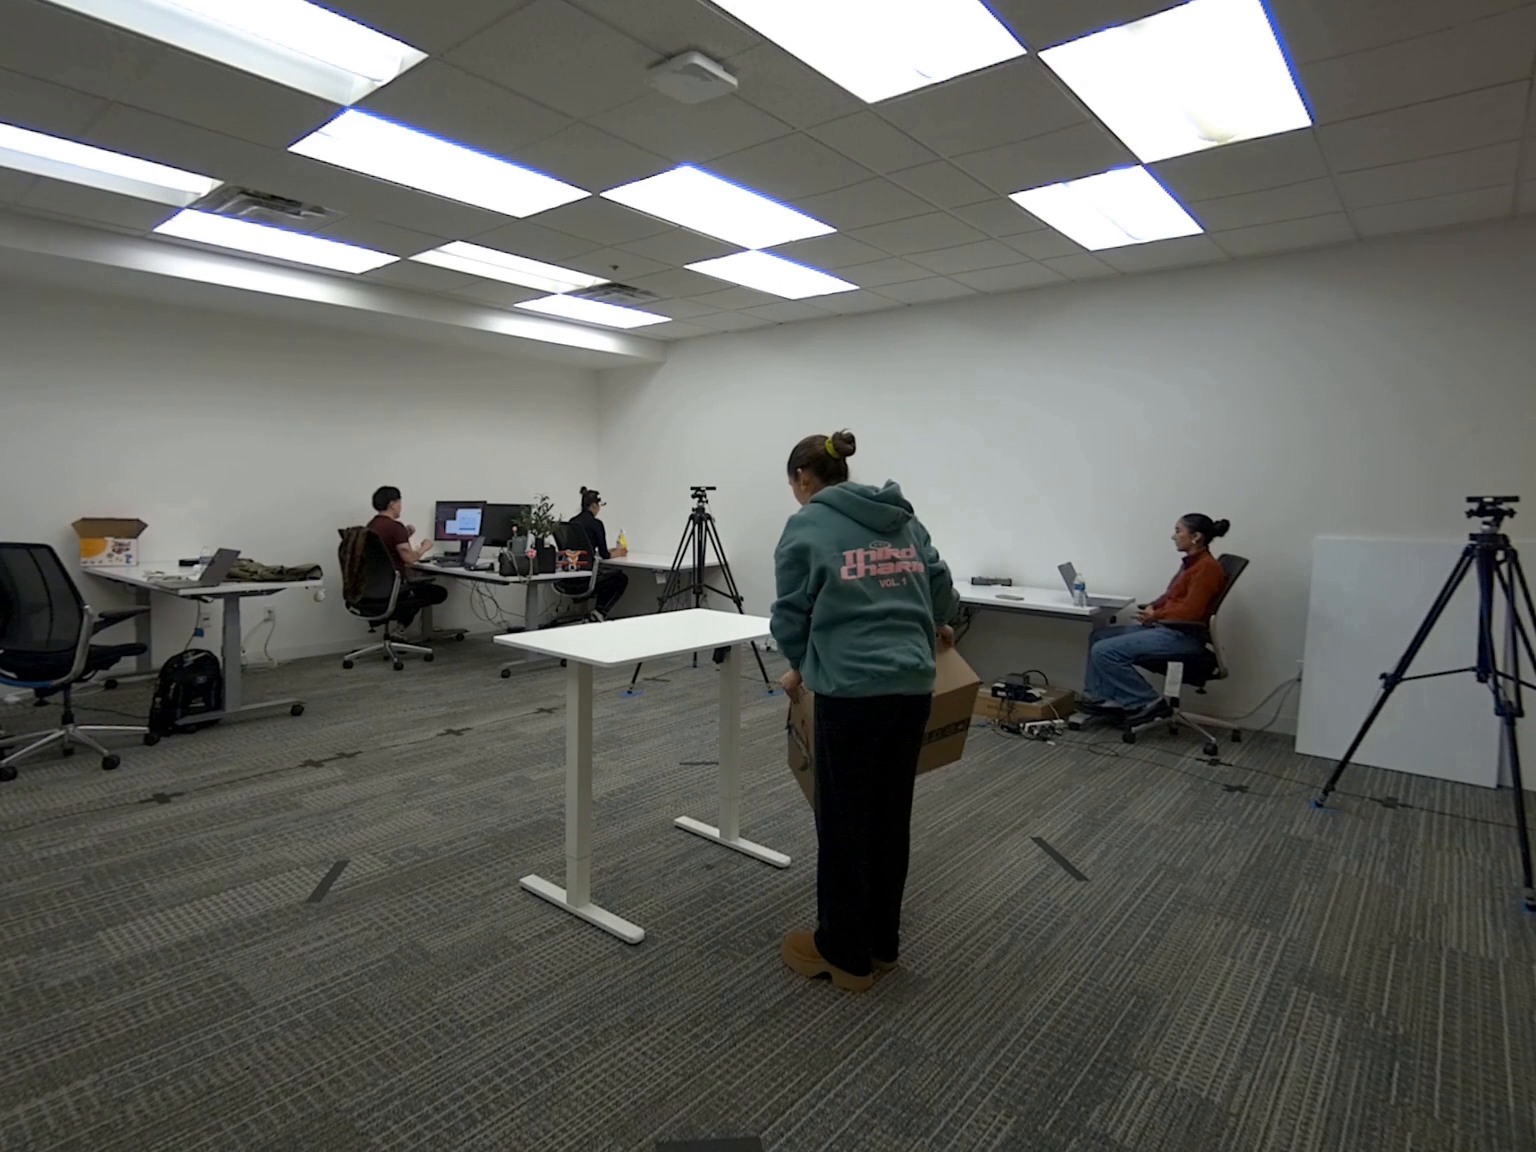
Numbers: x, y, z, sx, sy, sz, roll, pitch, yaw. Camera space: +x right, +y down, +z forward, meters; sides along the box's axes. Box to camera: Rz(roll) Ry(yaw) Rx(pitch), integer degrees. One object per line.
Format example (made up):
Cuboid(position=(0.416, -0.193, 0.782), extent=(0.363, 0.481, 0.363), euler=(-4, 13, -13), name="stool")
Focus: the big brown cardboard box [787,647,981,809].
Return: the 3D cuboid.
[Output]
Cuboid(position=(0.359, 0.489, 2.807), extent=(0.581, 0.406, 0.243), euler=(-14, 42, -16), name="big brown cardboard box")
